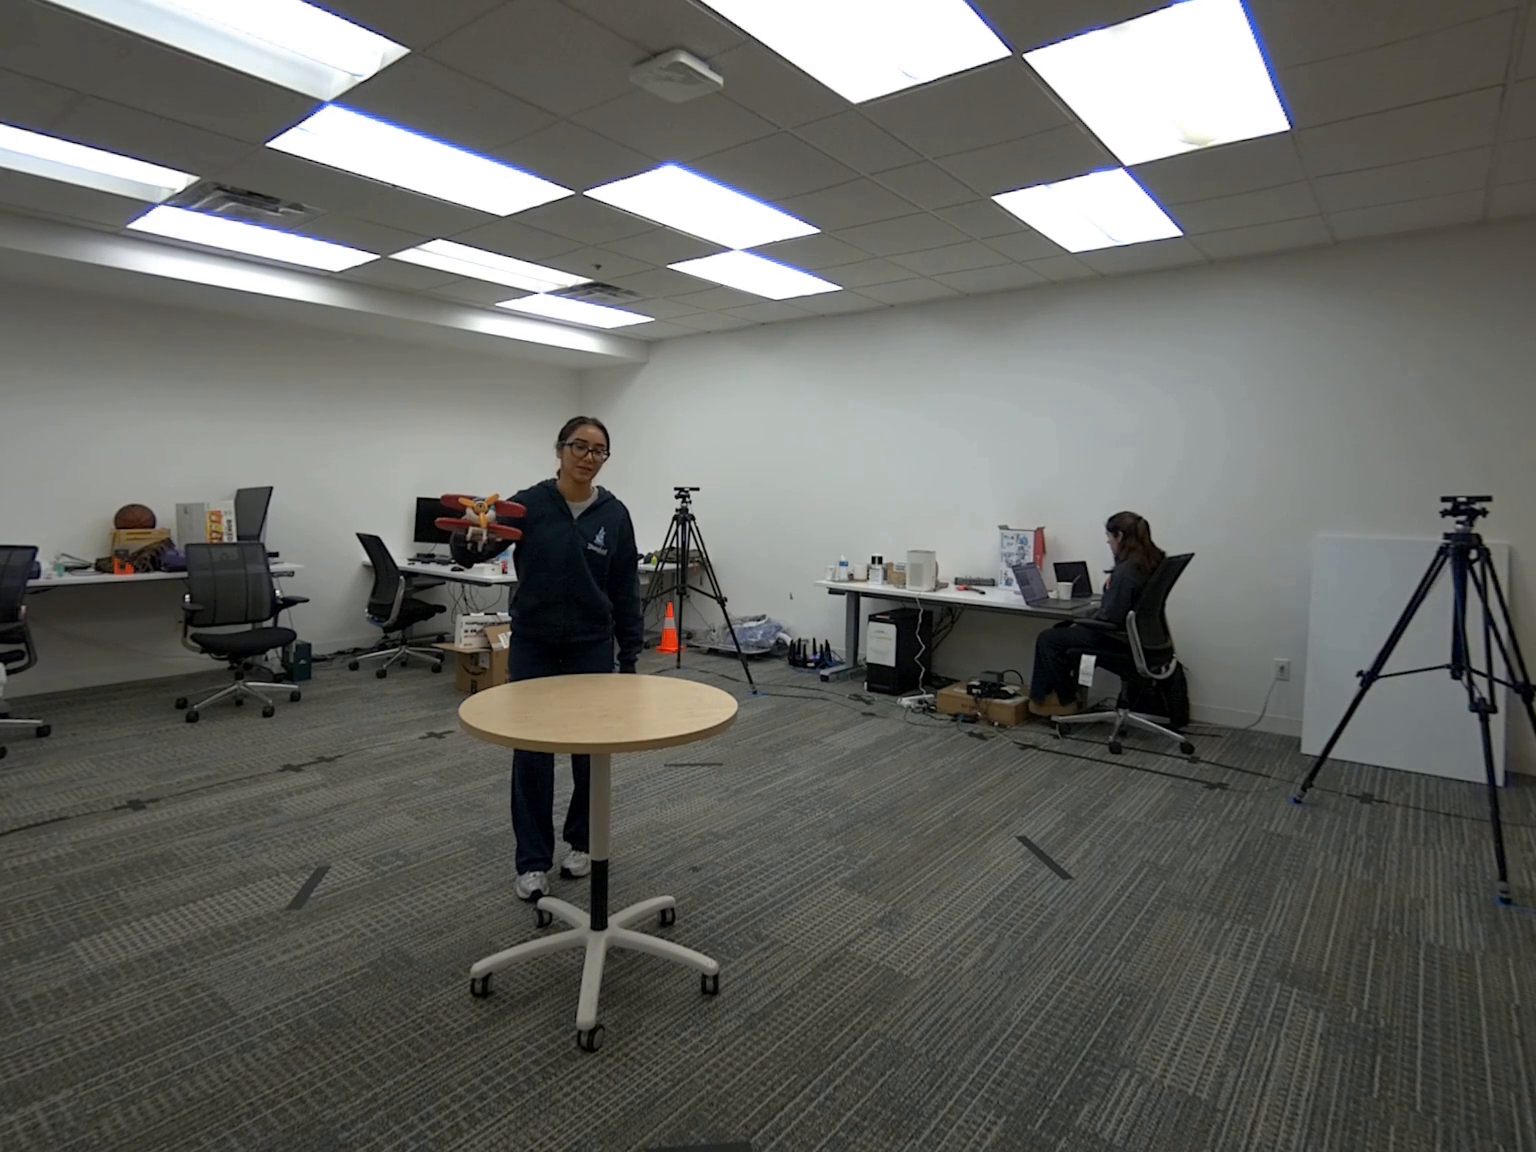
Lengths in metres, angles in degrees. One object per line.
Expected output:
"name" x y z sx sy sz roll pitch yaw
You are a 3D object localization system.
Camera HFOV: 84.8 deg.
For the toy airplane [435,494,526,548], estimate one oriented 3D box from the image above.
"toy airplane" -0.918 -0.164 2.624 0.242 0.157 0.267 12 -9 -39
